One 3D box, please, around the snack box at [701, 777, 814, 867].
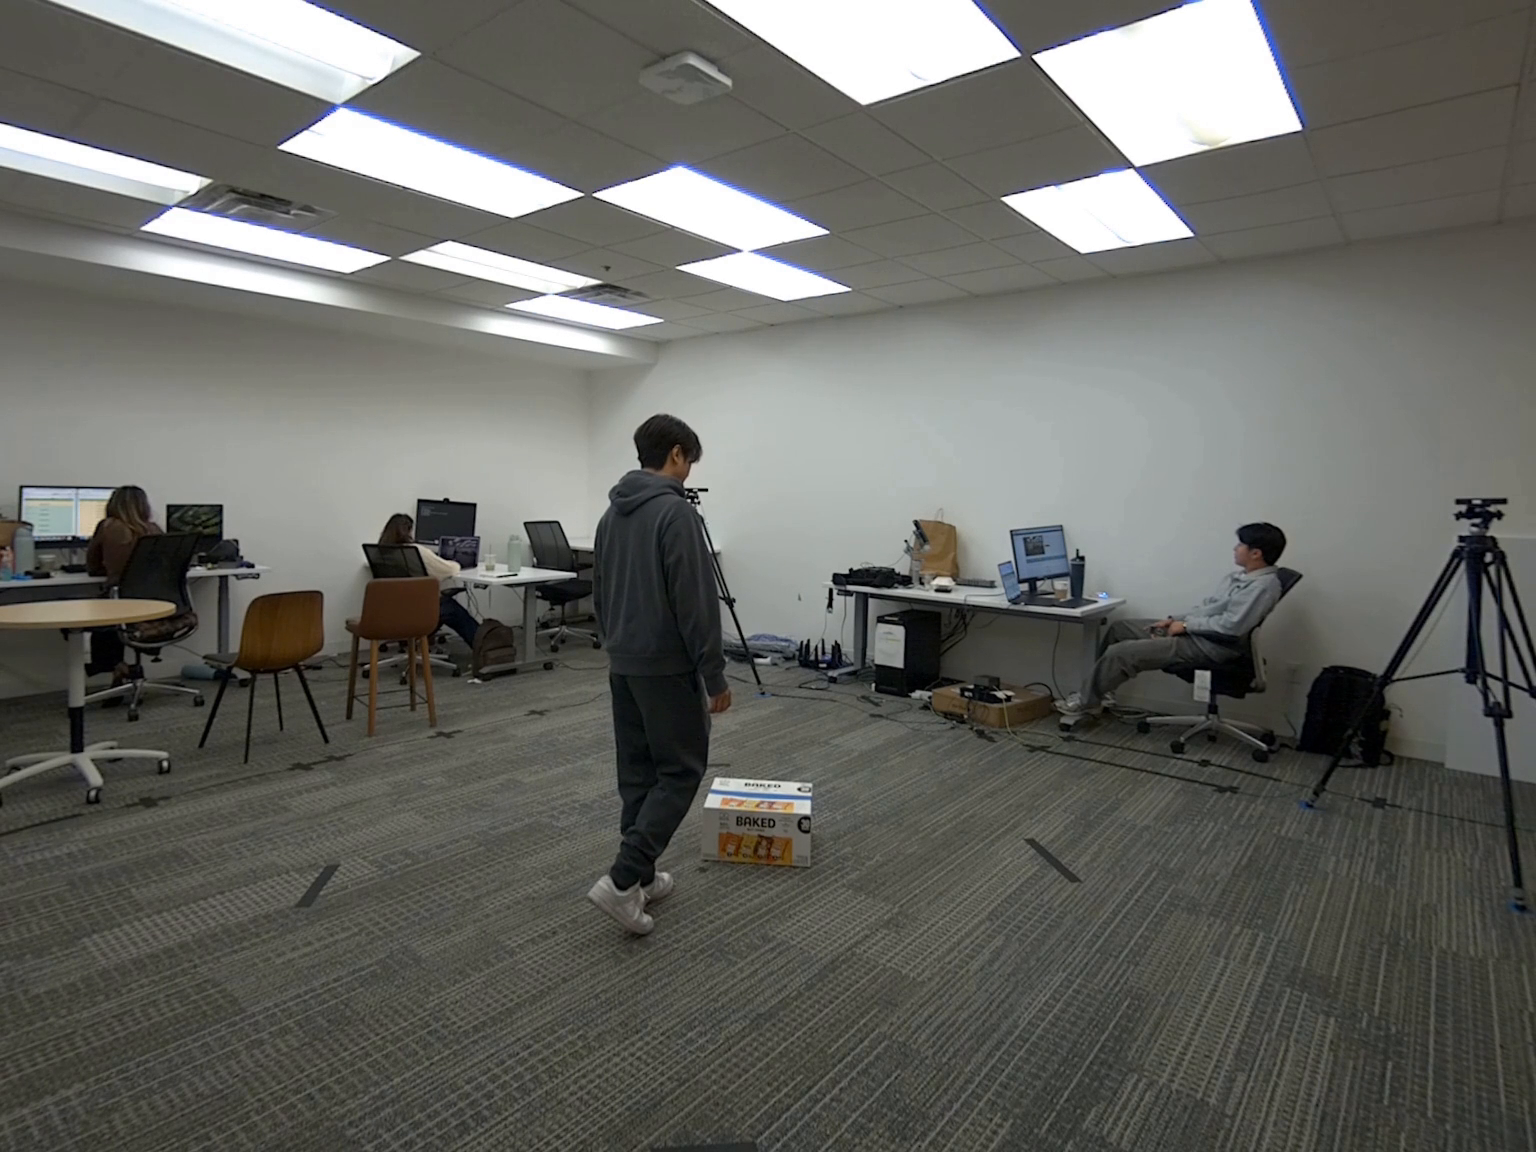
[{"bbox_3d":[-0.042,0.950,3.320,0.408,0.205,0.339,2,5,6],"label":"snack box"}]
